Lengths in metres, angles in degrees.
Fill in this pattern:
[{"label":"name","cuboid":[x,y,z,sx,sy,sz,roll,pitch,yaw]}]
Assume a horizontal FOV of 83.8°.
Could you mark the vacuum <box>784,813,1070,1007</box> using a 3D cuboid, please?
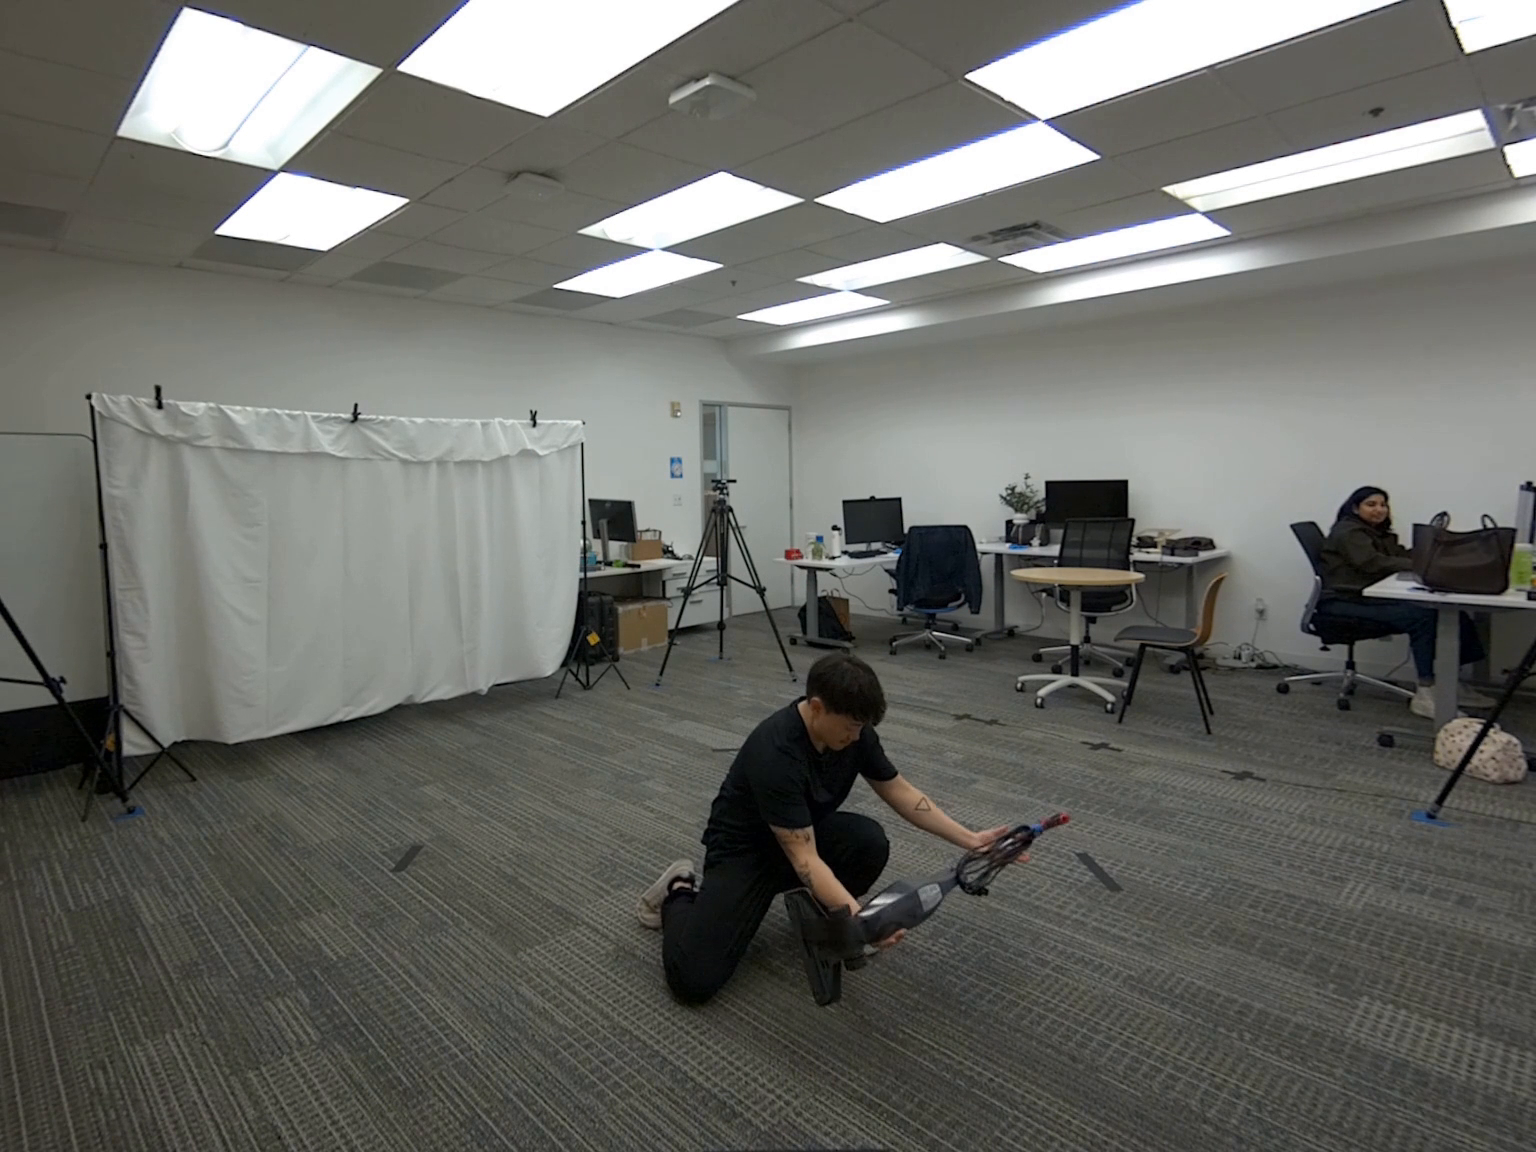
[{"label":"vacuum","cuboid":[0.532,0.802,2.277,1.022,0.258,0.145,-5,-21,-37]}]
